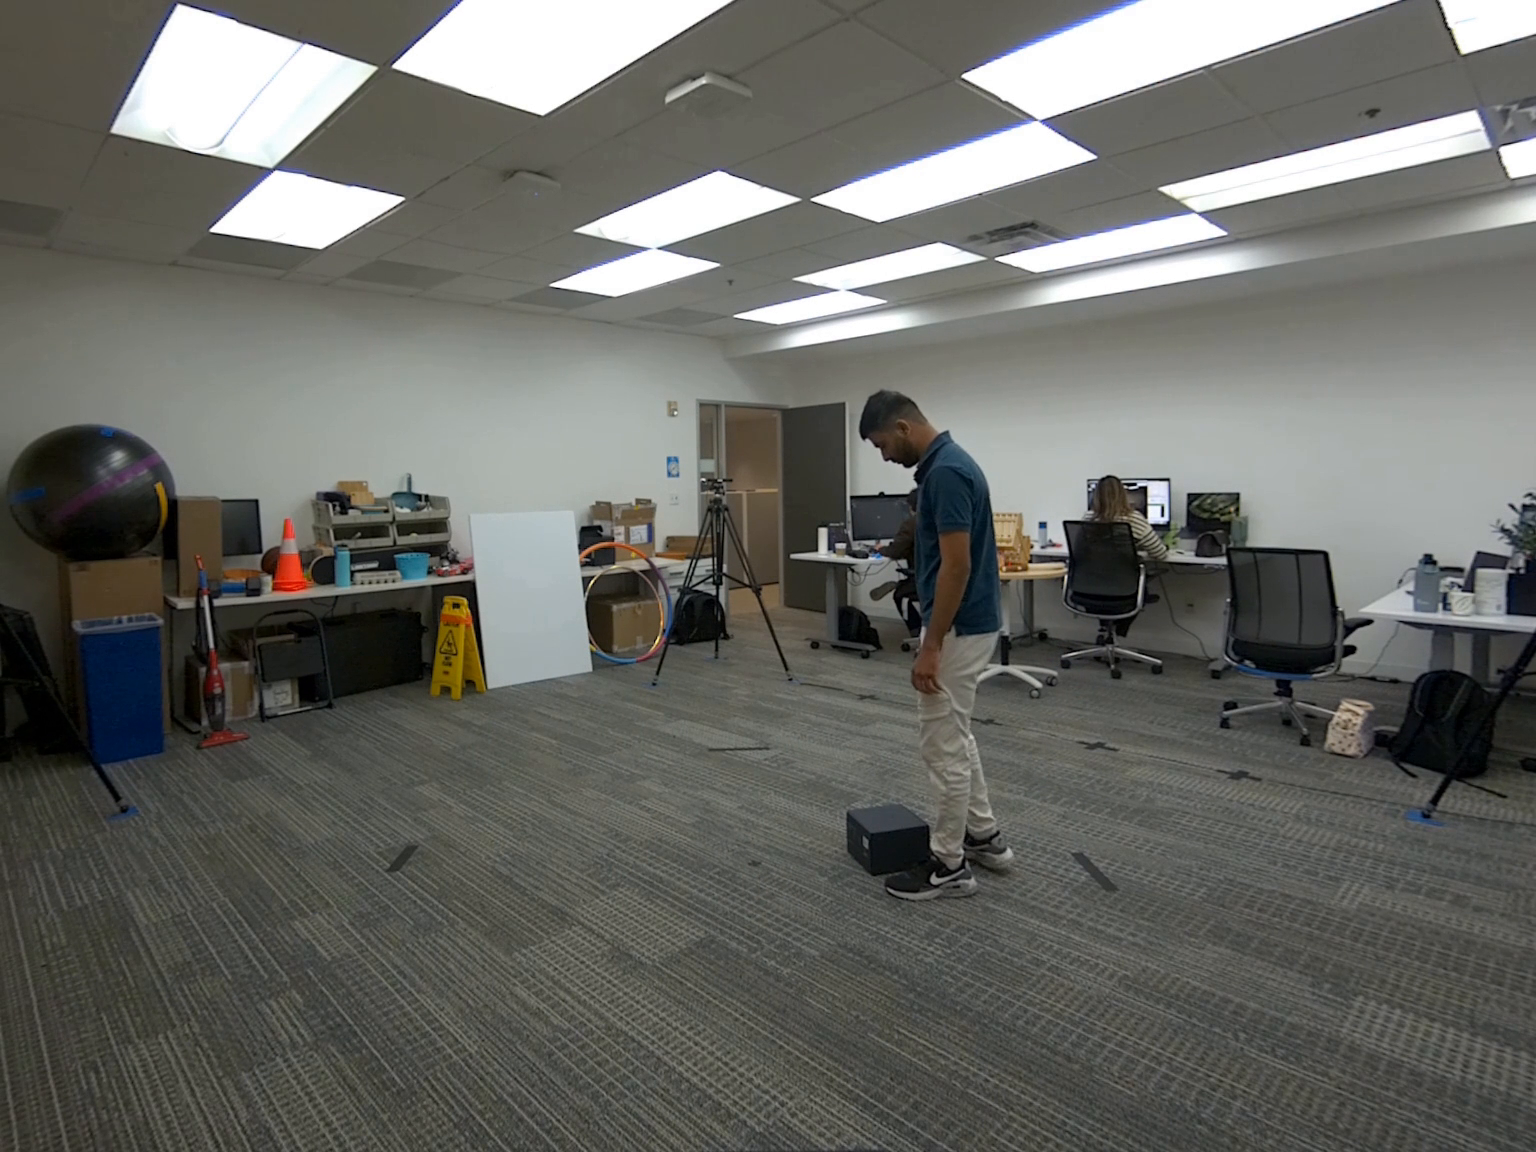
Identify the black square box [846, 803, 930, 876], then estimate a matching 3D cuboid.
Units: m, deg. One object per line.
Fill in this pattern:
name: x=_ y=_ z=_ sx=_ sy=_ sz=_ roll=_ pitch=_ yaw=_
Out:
black square box: x=0.433 y=0.955 z=3.115 sx=0.224 sy=0.155 sz=0.221 roll=-2 pitch=6 yaw=-17
